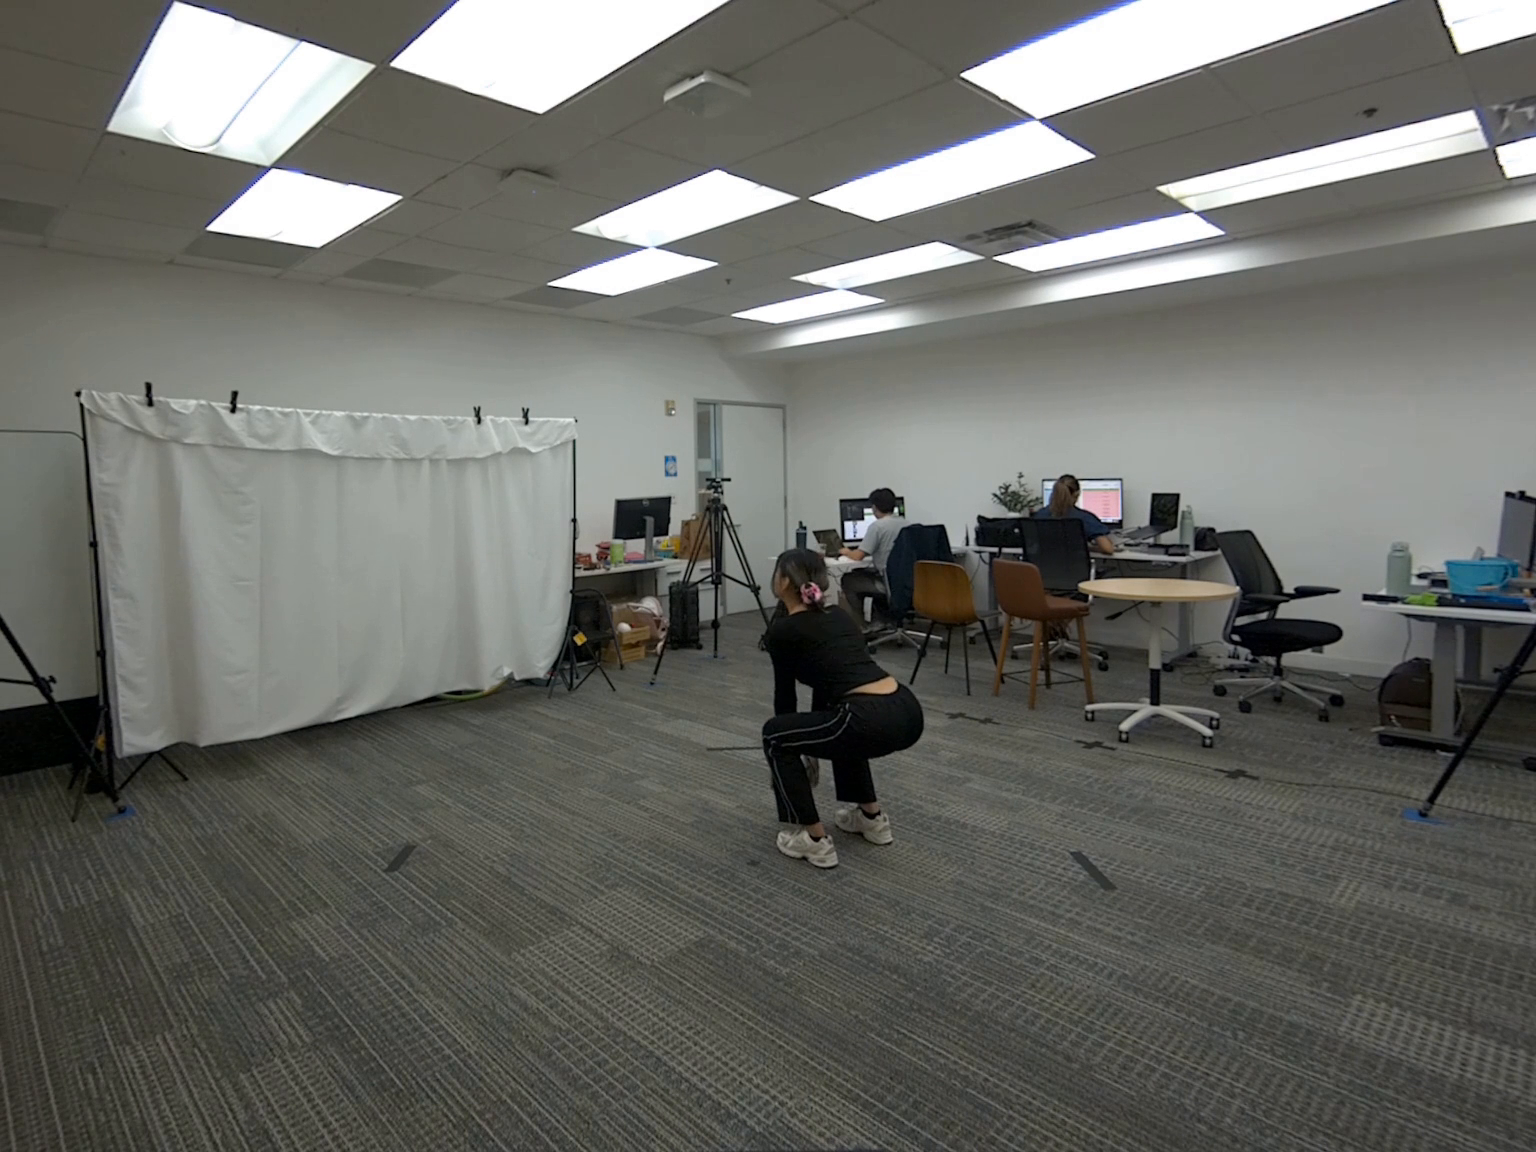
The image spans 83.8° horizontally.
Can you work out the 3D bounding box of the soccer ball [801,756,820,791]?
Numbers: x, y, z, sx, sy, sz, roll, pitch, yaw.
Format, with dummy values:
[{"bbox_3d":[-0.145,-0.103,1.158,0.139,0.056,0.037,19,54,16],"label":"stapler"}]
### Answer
[{"bbox_3d":[0.109,0.798,3.442,0.187,0.187,0.188,-1,5,-2],"label":"soccer ball"}]
